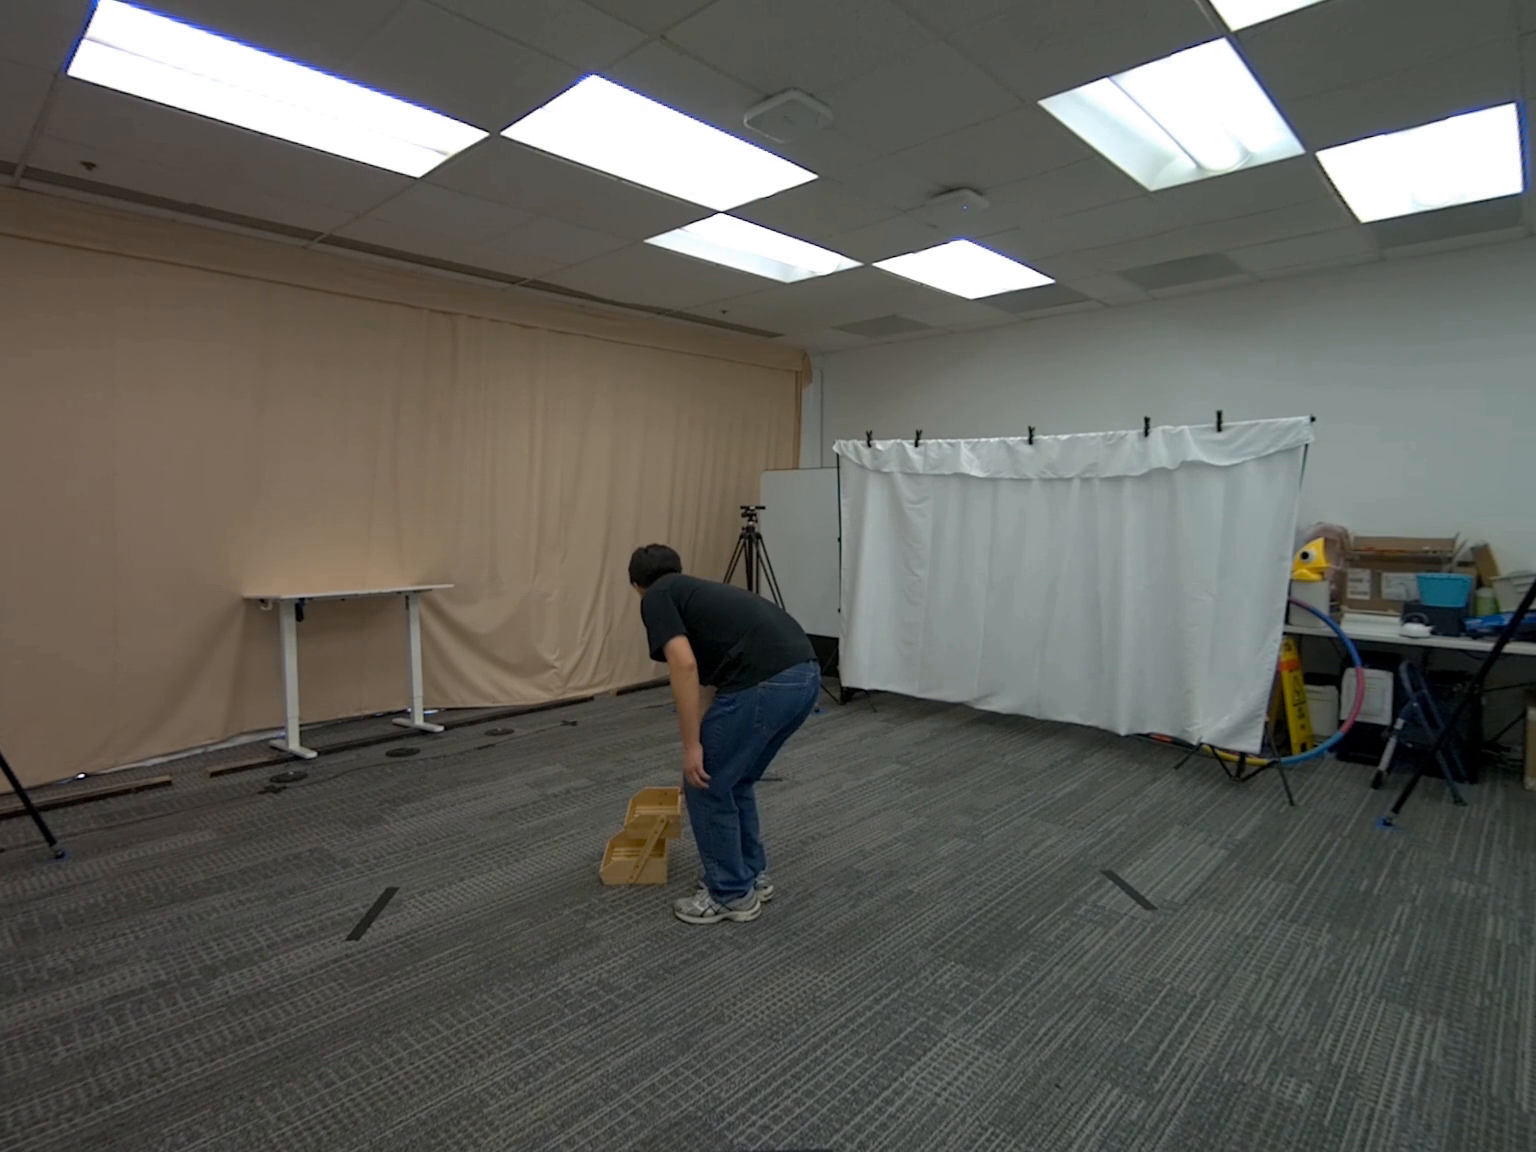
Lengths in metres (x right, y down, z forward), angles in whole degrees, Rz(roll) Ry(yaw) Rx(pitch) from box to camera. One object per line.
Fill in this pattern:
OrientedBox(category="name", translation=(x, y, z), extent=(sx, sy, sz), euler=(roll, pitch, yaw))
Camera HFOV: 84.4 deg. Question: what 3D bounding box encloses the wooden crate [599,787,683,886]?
OrientedBox(category="wooden crate", translation=(-0.491, 0.990, 3.251), extent=(0.301, 0.273, 0.326), euler=(-1, 4, -3))
